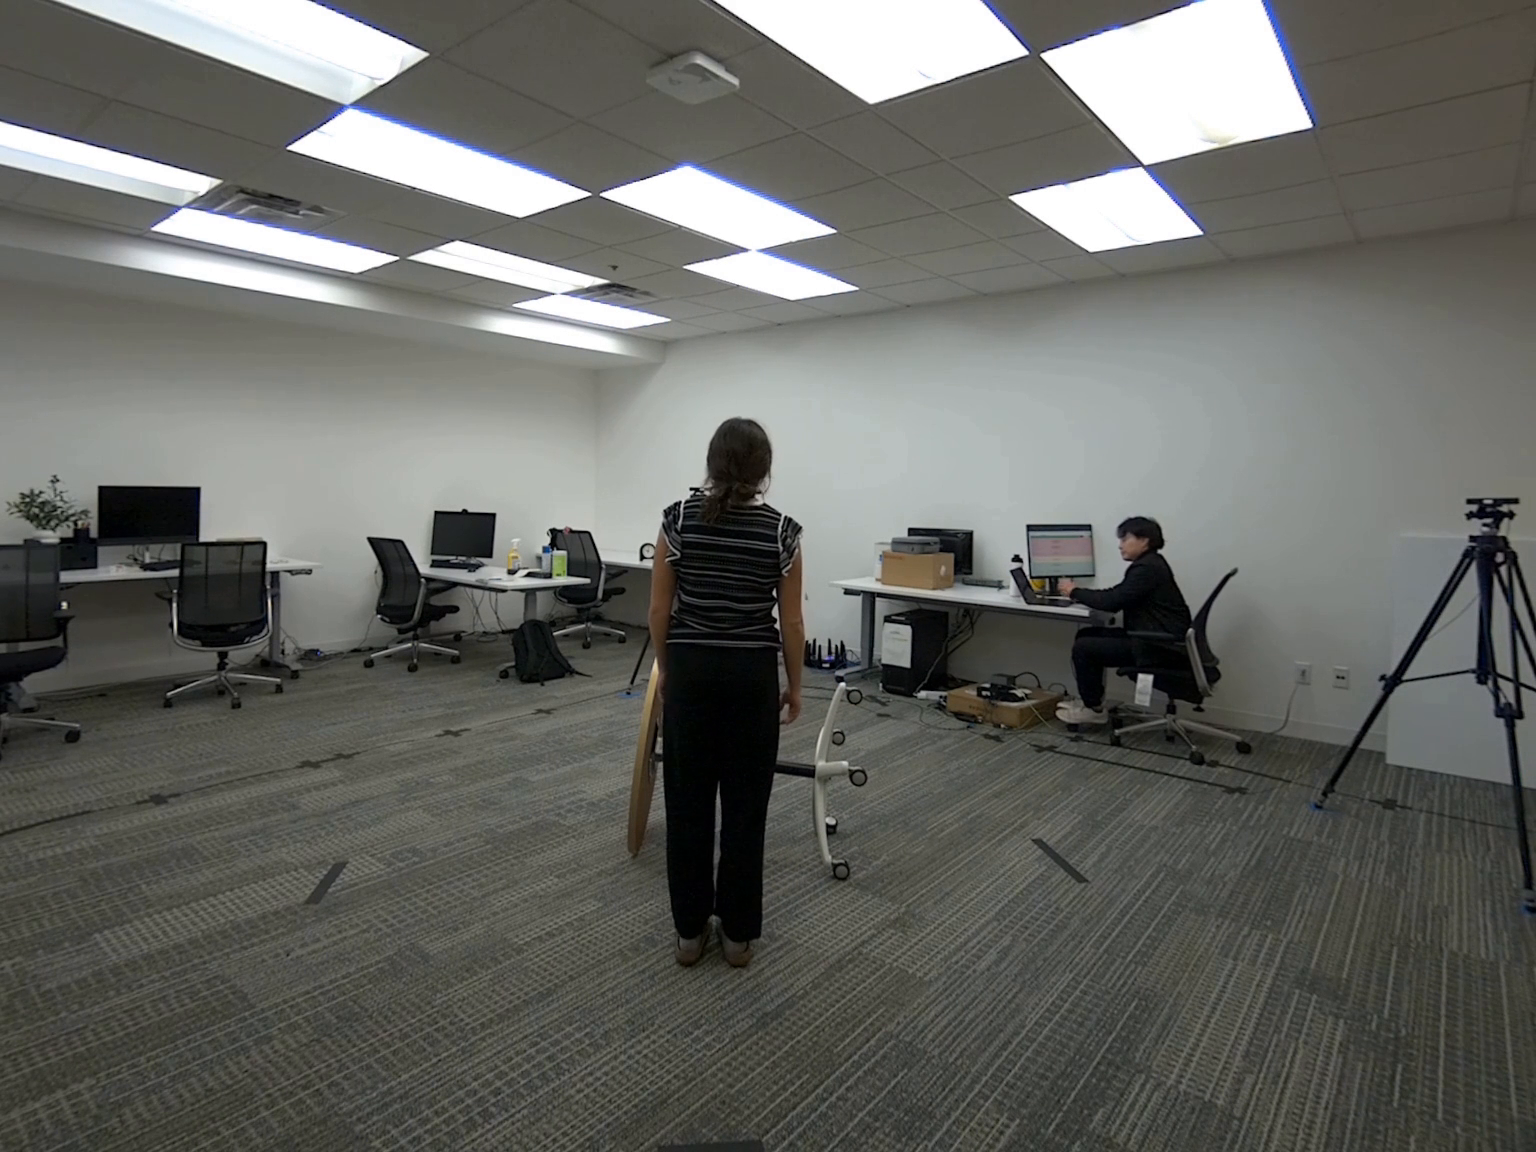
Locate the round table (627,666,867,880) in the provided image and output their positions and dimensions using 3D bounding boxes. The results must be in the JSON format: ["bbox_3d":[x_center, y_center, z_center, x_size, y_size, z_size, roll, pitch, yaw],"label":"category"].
[{"bbox_3d":[-0.081,0.722,3.280,0.795,0.762,0.766,7,4,0],"label":"round table"}]
